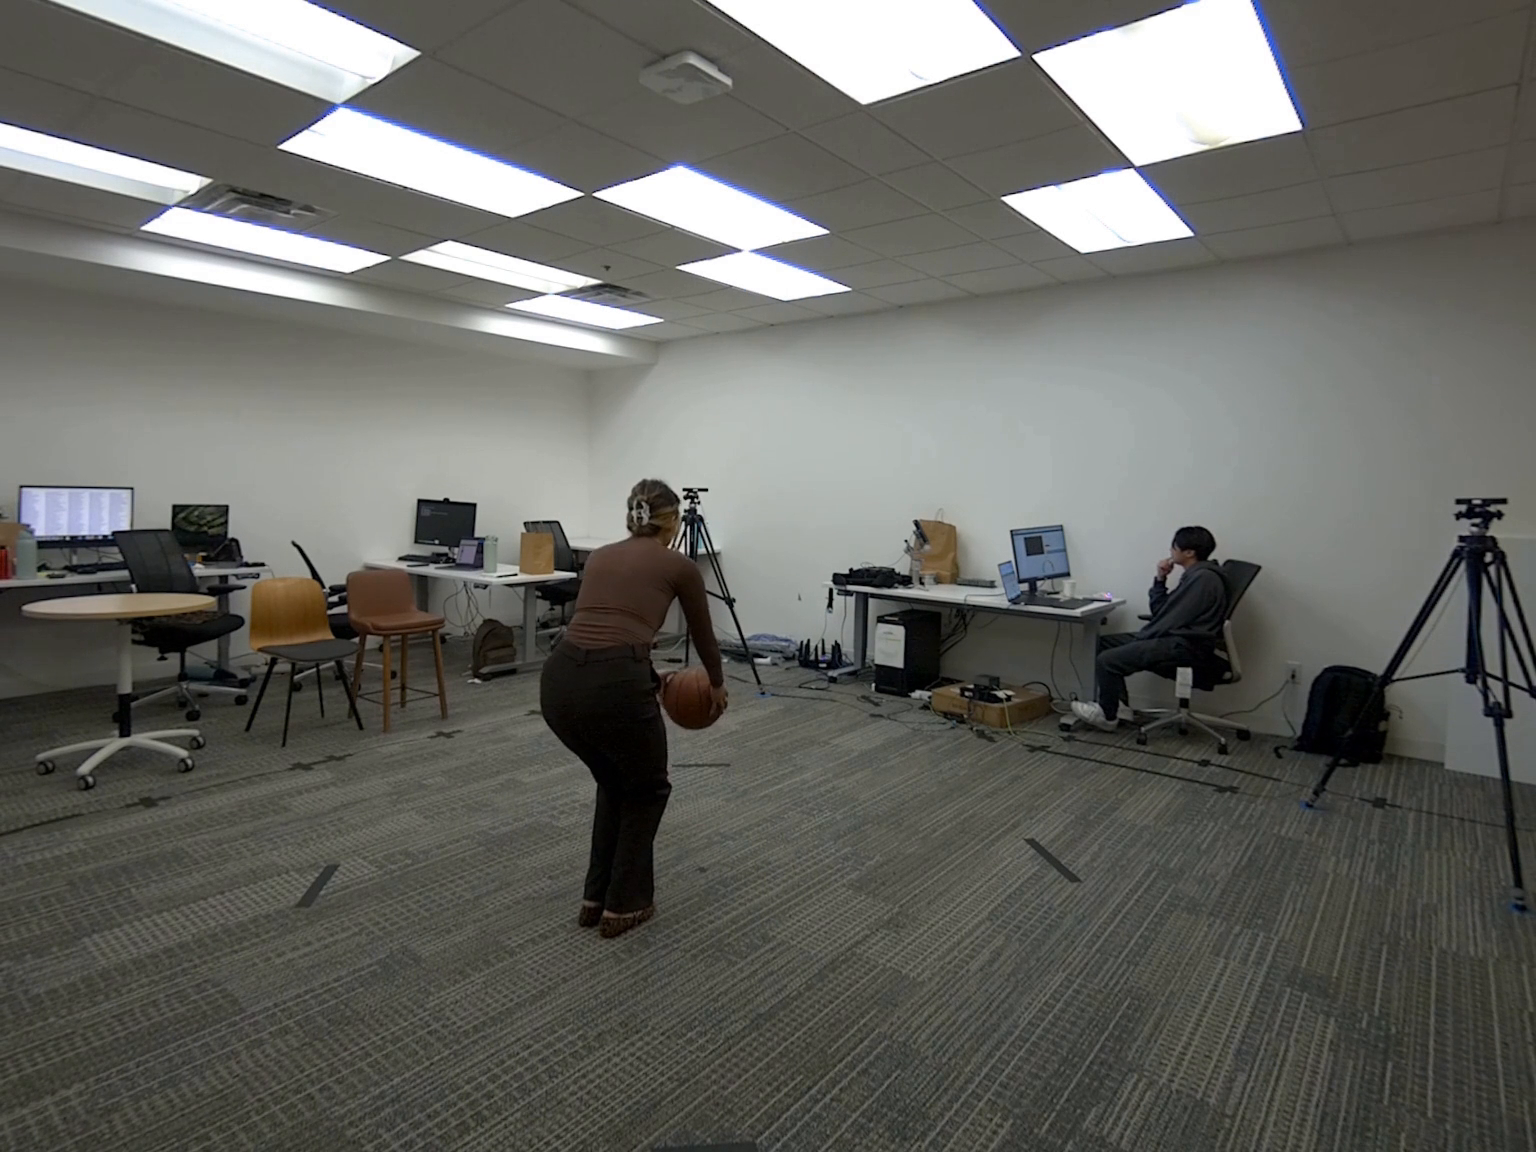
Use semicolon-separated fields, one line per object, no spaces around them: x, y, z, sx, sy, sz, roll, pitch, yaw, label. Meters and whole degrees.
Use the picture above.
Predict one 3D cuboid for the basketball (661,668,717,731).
-0.293;0.459;3.264;0.235;0.235;0.237;1;4;-2;basketball
